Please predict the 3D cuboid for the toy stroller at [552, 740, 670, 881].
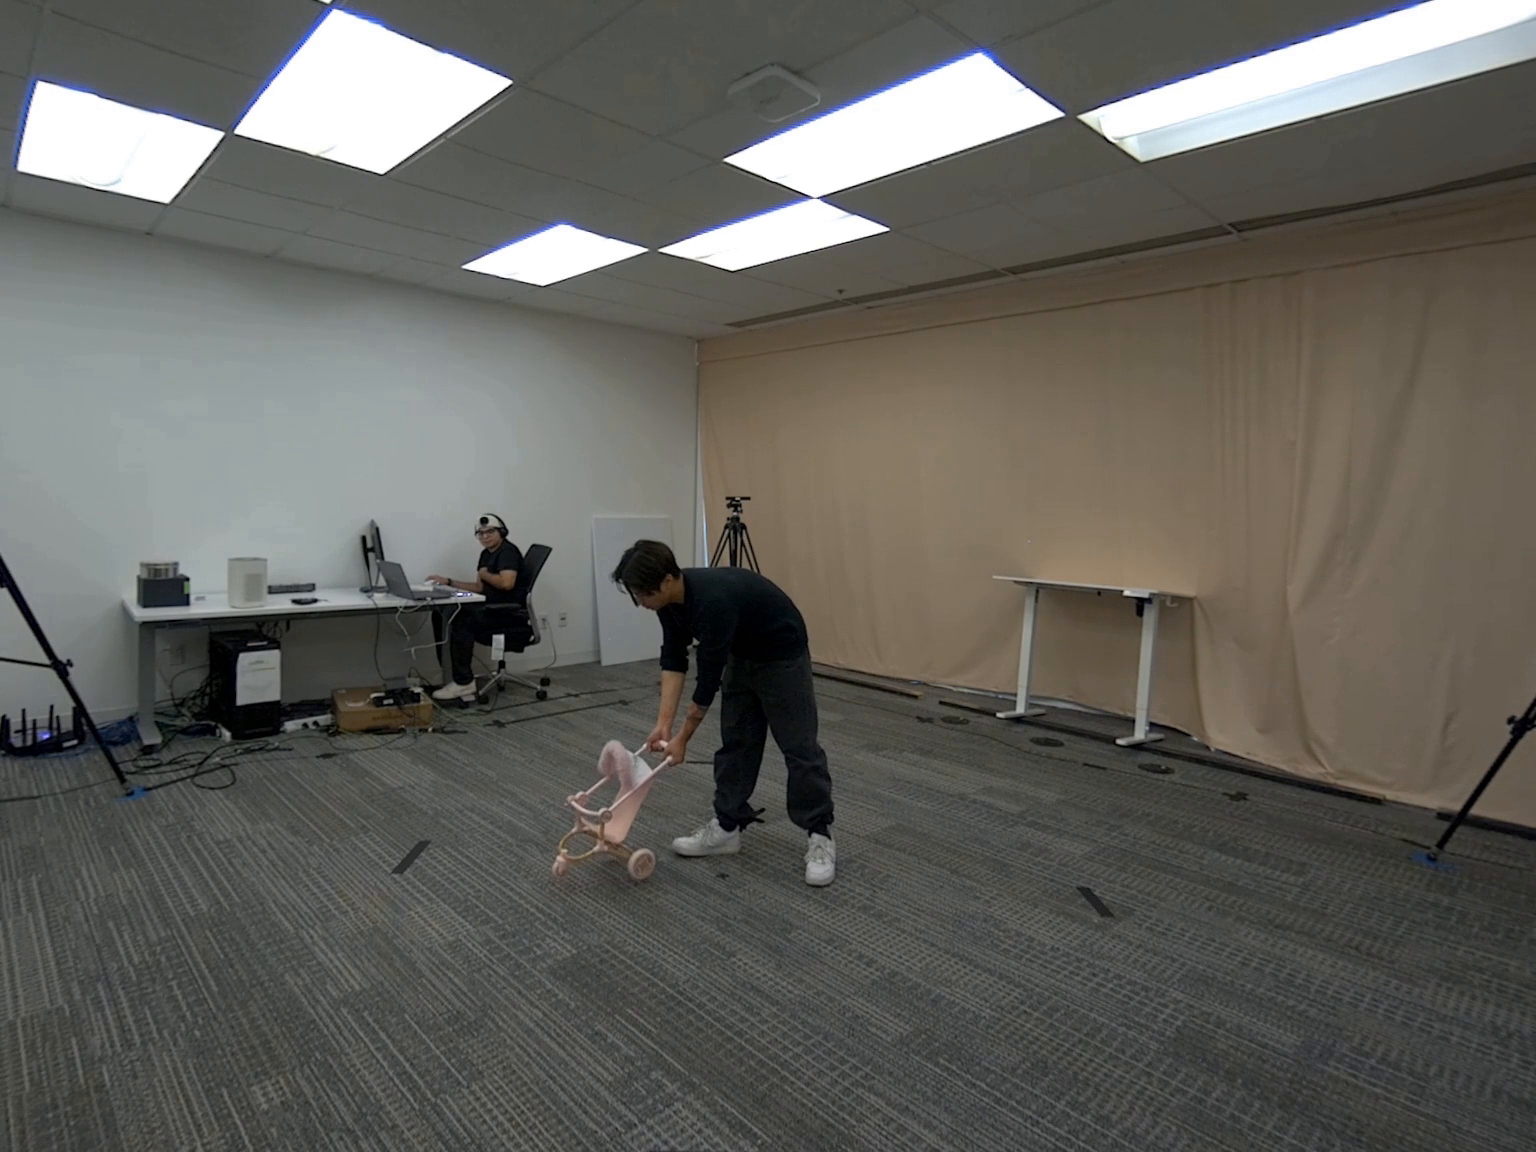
[{"bbox_3d":[-0.577,0.845,3.058,0.332,0.536,0.288,19,-6,-32],"label":"toy stroller"}]
